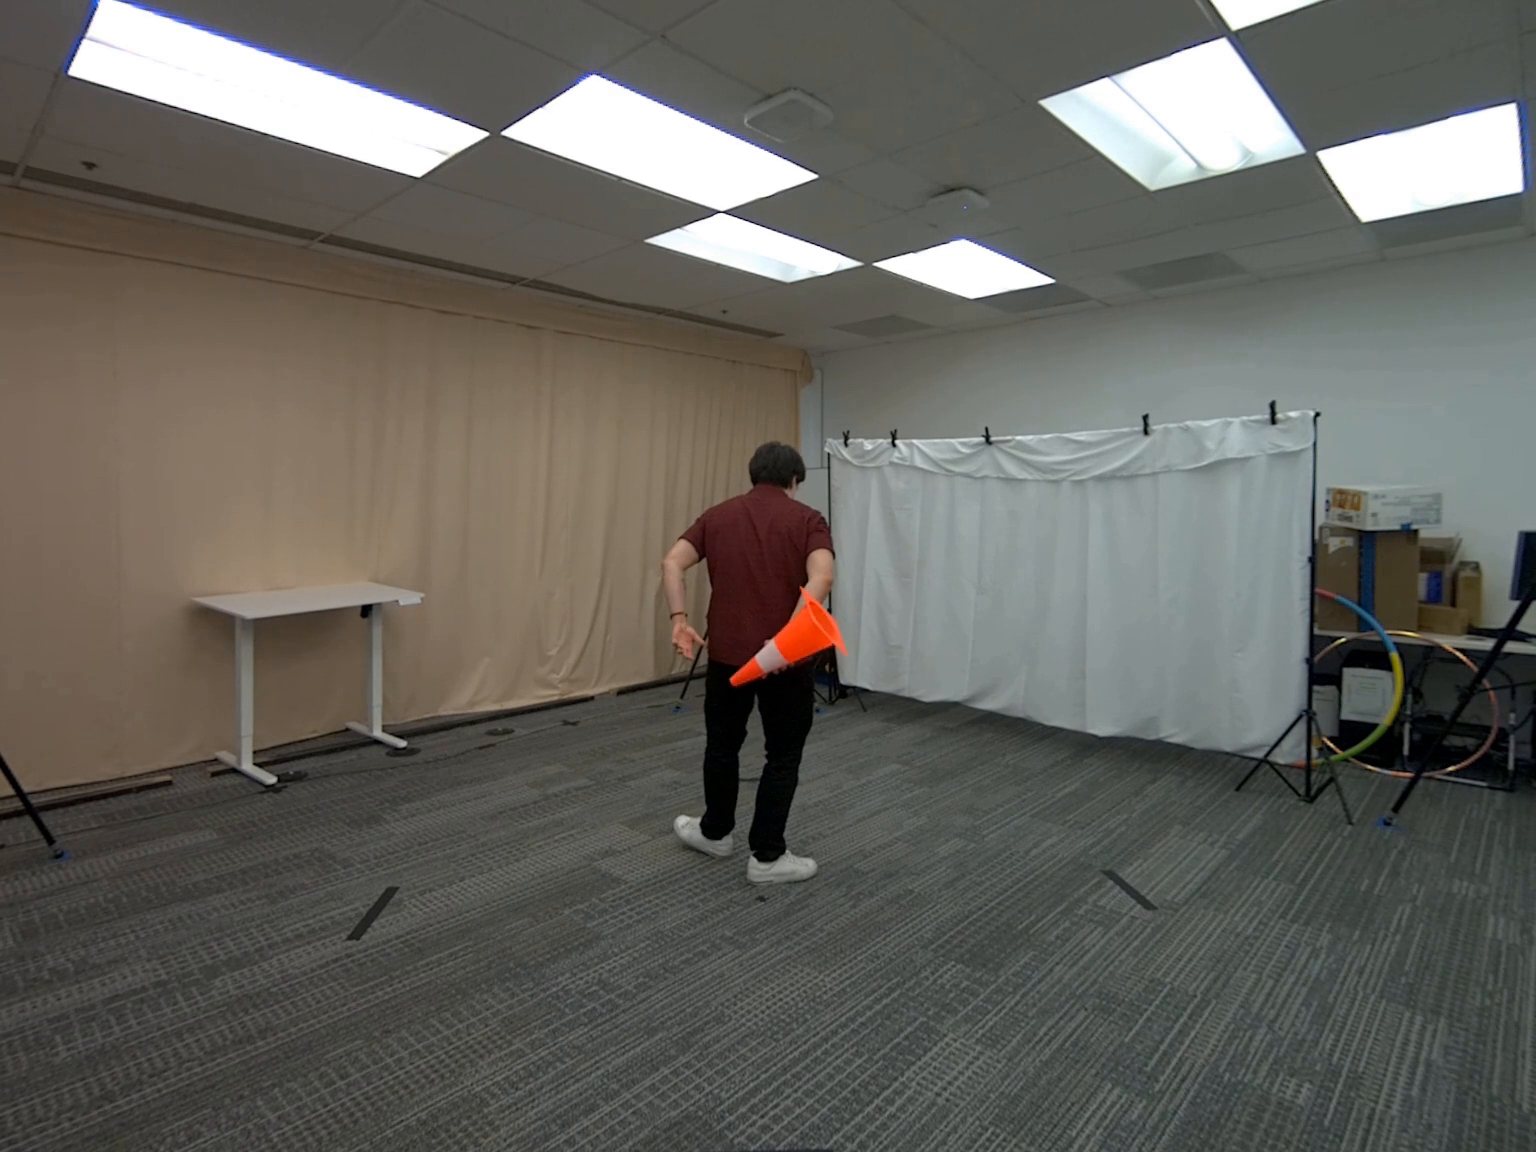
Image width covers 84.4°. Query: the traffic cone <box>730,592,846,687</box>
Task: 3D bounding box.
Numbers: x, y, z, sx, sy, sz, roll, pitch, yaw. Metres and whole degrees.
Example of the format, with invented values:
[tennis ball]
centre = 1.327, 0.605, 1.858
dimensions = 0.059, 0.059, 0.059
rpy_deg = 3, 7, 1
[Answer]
[traffic cone]
centre = 0.035, 0.253, 2.755
dimensions = 0.386, 0.198, 0.209
rpy_deg = -37, 28, 15
